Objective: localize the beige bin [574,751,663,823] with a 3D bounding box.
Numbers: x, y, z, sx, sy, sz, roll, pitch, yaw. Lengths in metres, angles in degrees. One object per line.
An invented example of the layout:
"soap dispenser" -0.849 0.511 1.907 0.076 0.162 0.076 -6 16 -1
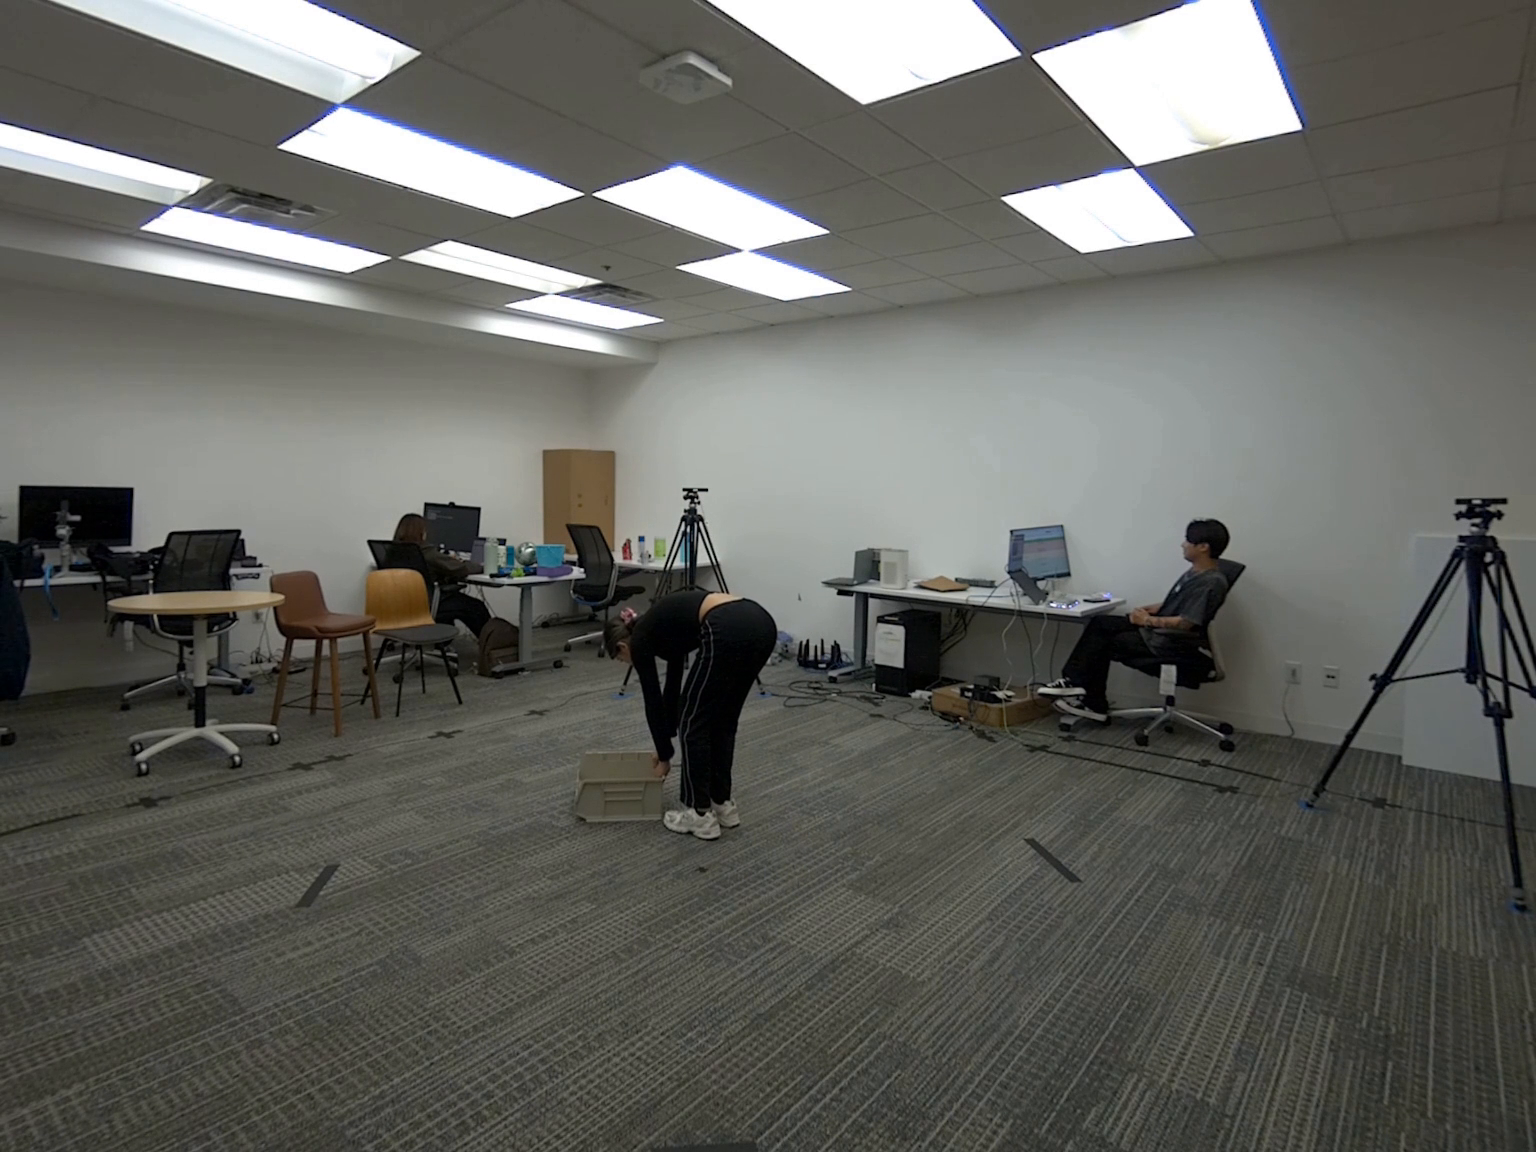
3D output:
"beige bin" -0.668 0.917 3.748 0.373 0.188 0.428 0 4 -11
